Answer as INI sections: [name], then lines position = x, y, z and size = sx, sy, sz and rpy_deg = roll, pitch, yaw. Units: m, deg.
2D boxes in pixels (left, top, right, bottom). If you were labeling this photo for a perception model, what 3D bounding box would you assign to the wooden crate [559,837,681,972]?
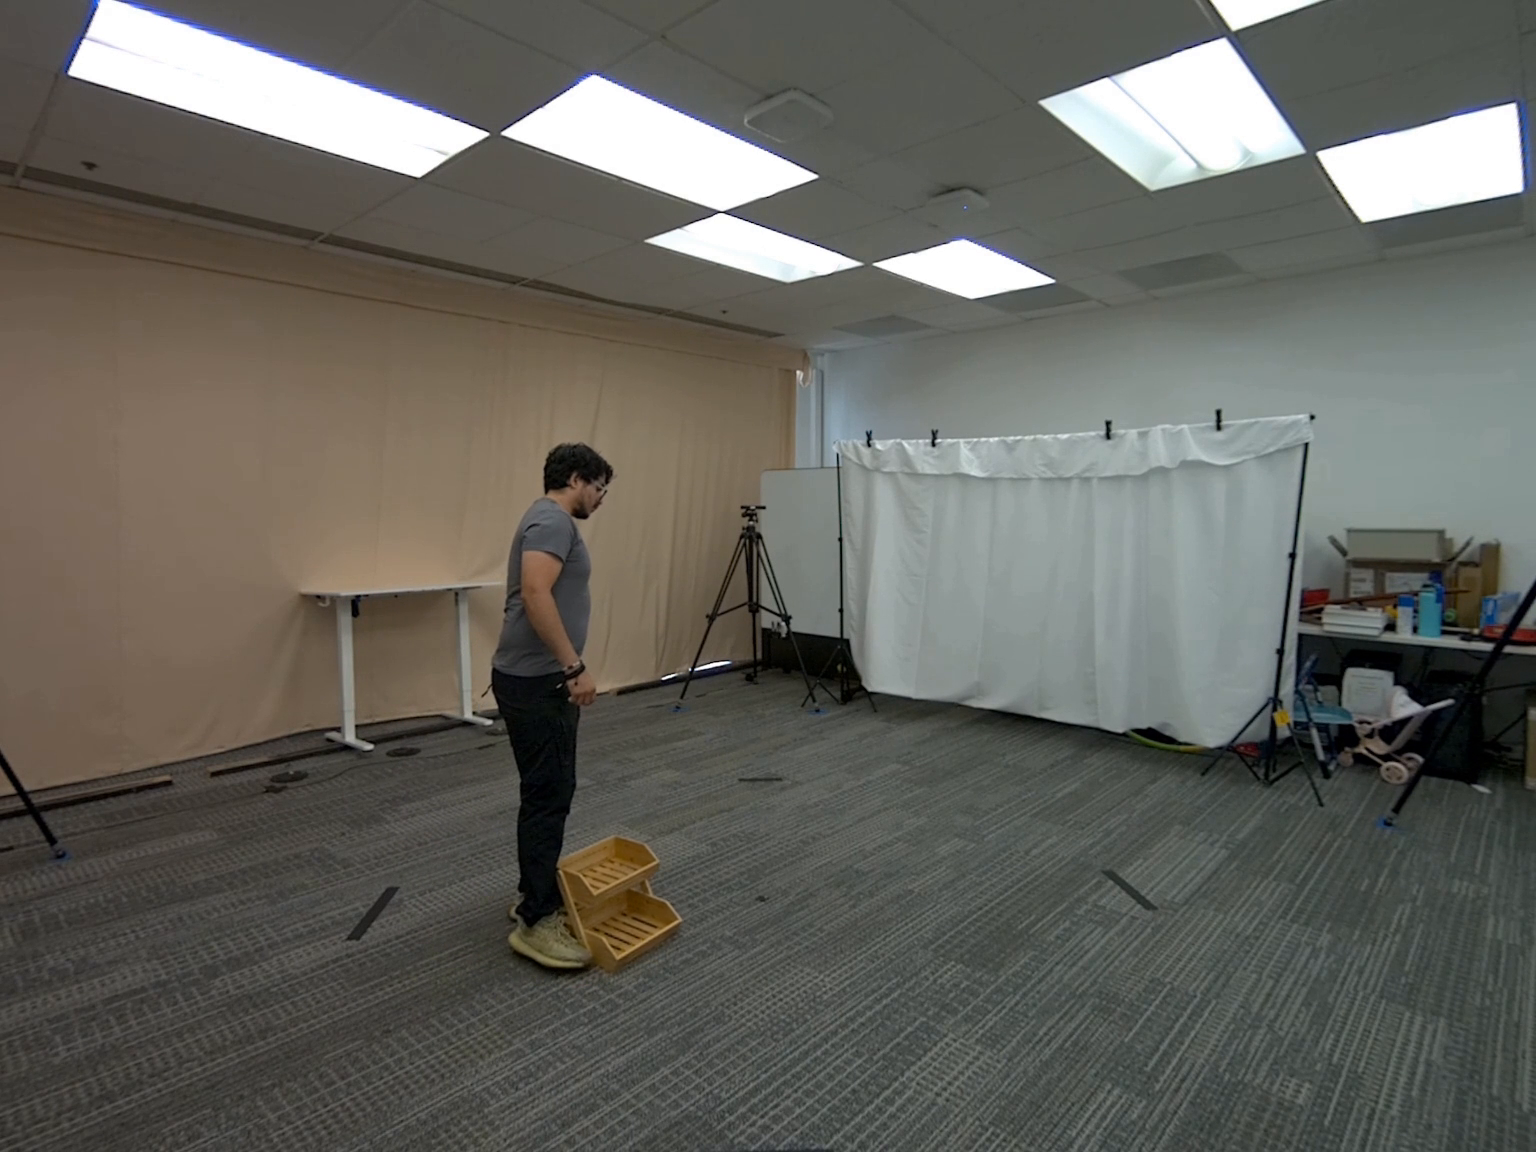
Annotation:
[wooden crate]
position = -0.478, 1.041, 2.701
size = 0.311, 0.273, 0.315
rpy_deg = 1, 4, 35
